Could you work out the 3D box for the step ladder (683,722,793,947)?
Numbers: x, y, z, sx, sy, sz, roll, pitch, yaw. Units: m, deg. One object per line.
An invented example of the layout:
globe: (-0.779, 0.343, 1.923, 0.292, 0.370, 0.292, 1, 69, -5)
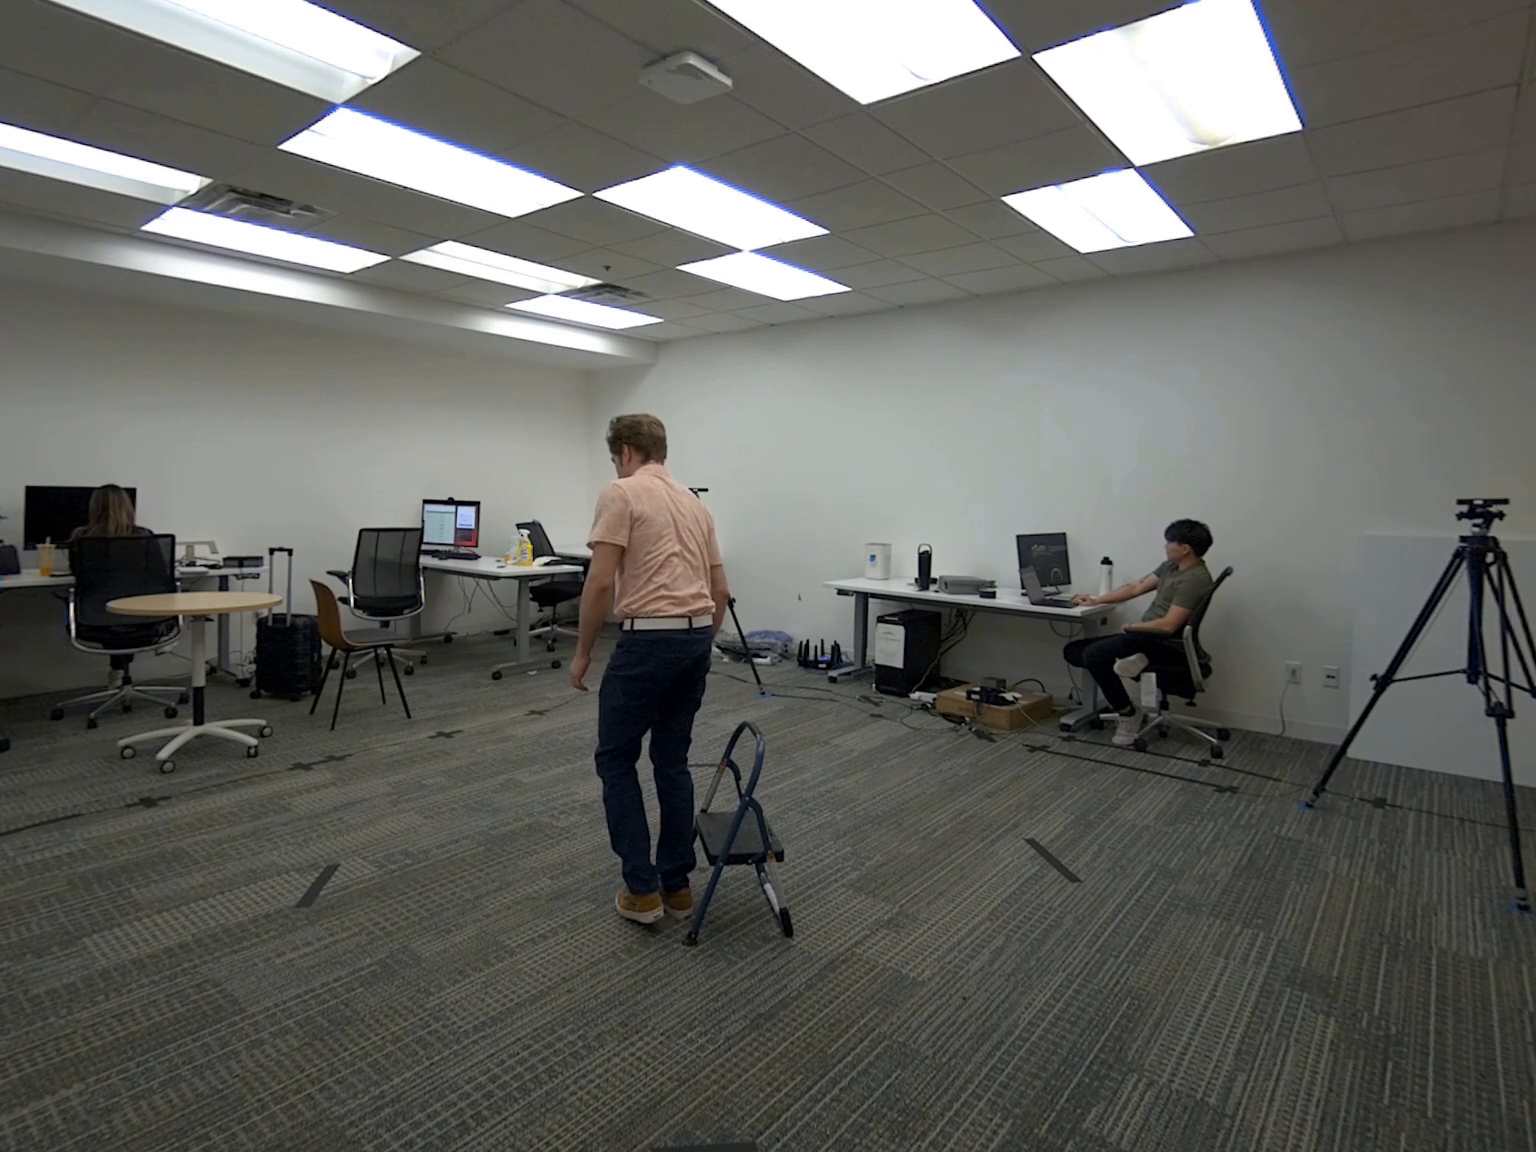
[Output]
step ladder: (-0.129, 0.804, 2.798, 0.345, 0.604, 0.437, 0, 4, -13)
